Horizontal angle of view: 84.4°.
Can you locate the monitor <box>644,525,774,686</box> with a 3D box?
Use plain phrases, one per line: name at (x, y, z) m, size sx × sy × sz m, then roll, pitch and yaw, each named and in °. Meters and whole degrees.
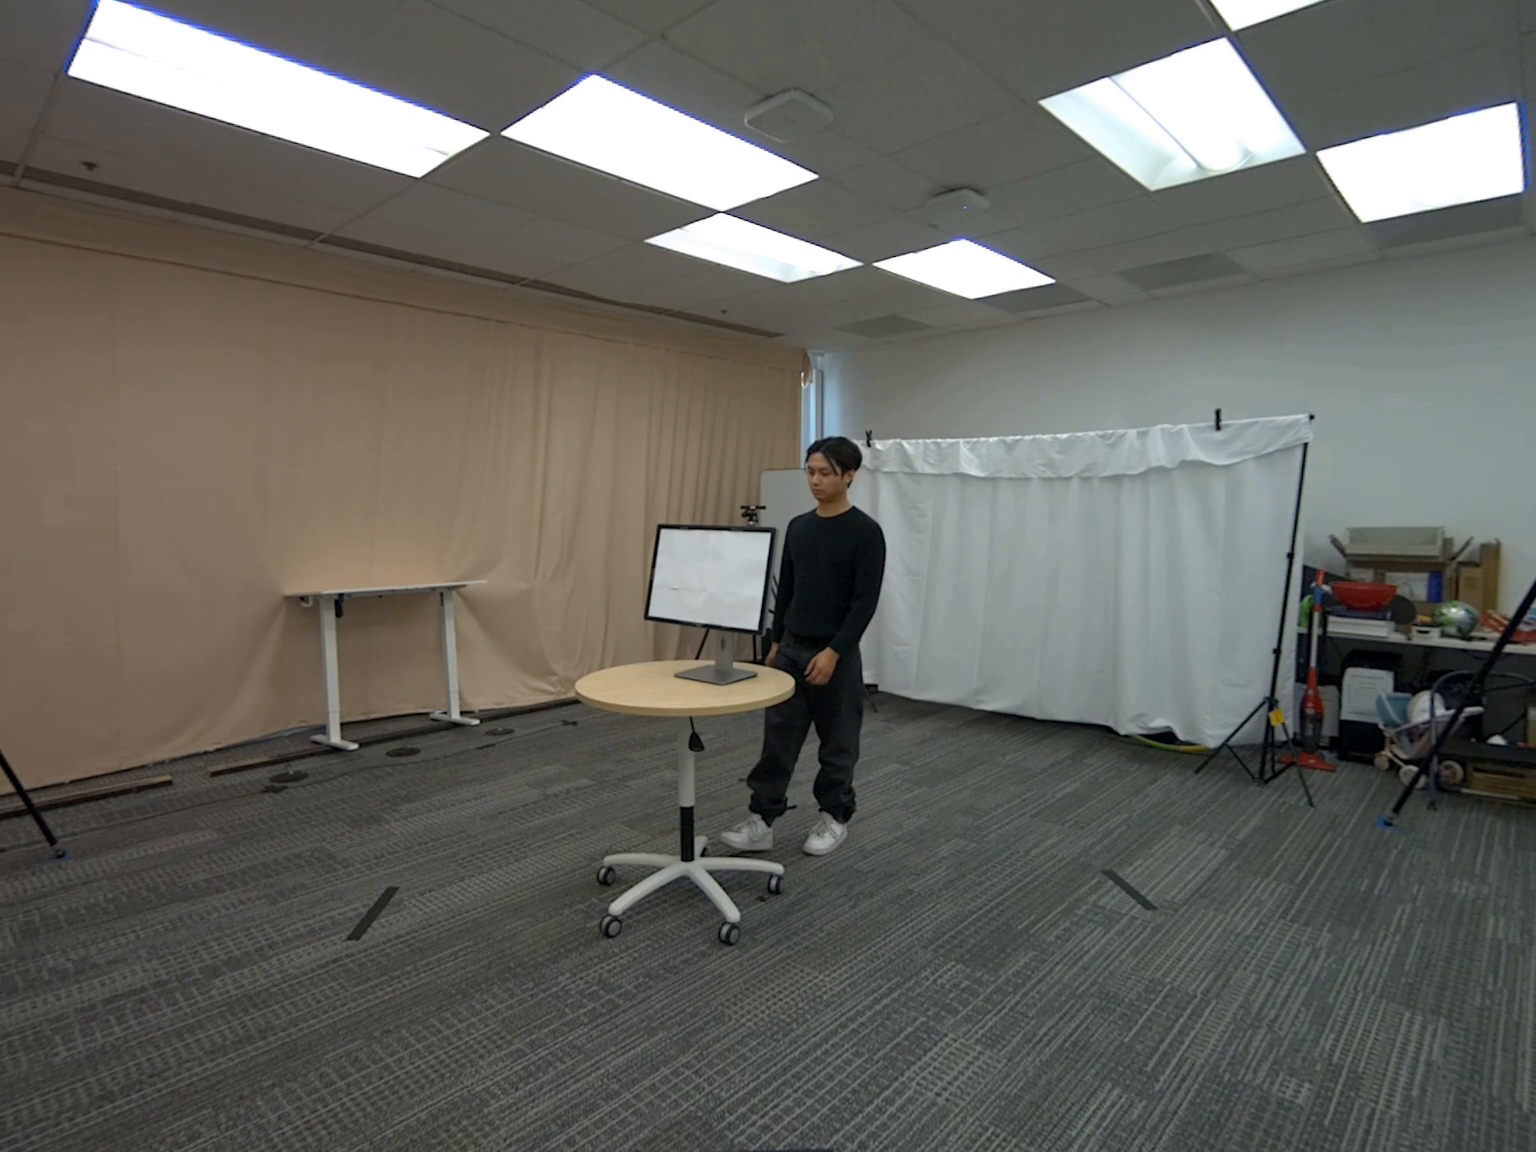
monitor at (-0.183, 0.096, 3.008) m, size 0.556 × 0.521 × 0.182 m, roll 3°, pitch 6°, yaw 37°
